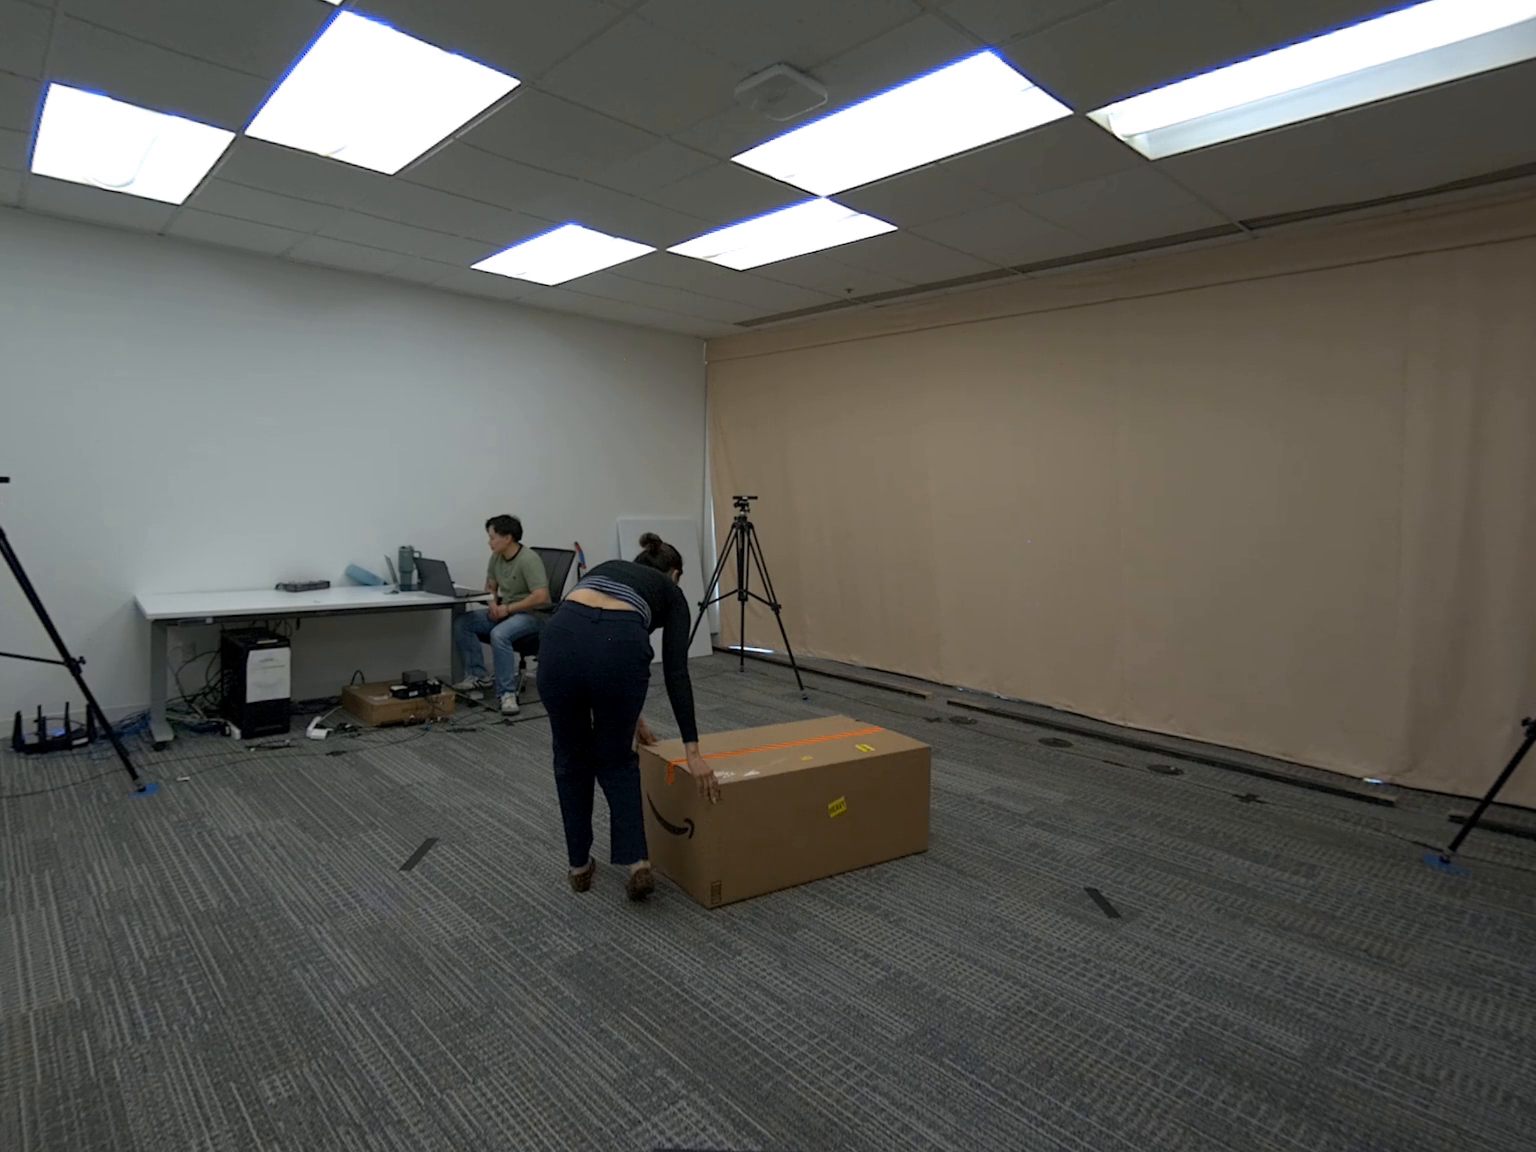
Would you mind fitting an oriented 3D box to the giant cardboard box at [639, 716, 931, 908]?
[{"bbox_3d":[0.057,0.873,3.323,1.004,0.425,0.591,-2,5,-33],"label":"giant cardboard box"}]
